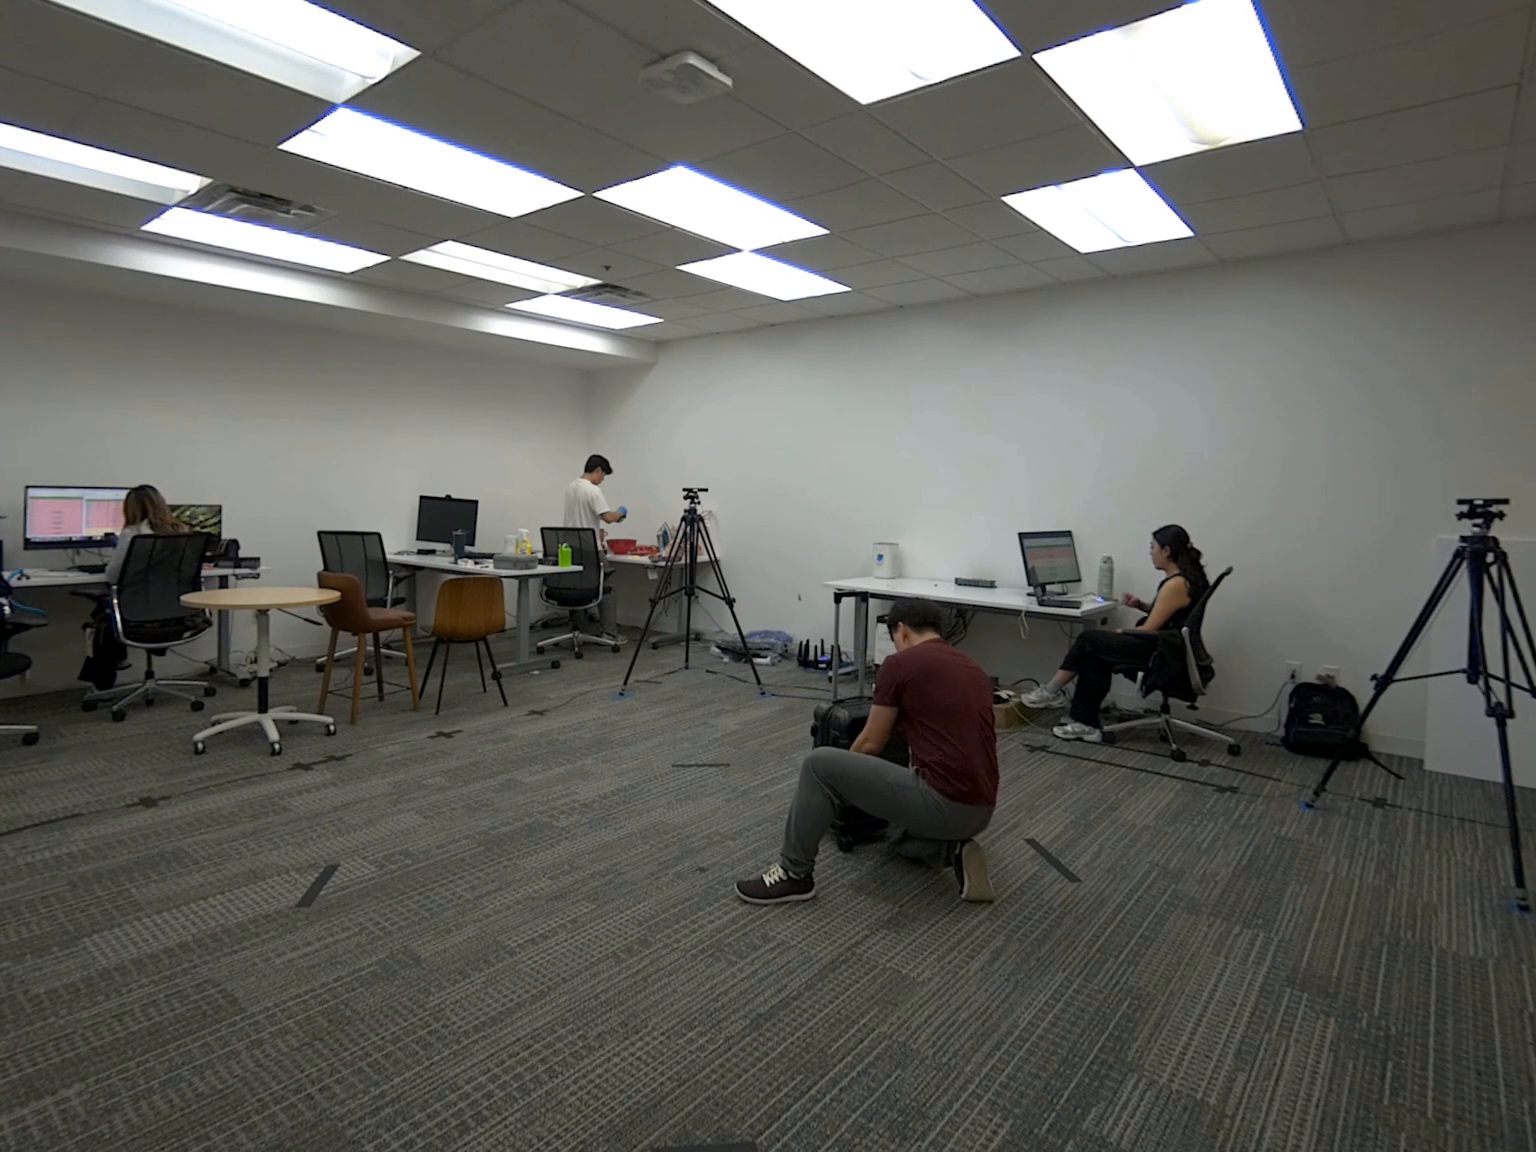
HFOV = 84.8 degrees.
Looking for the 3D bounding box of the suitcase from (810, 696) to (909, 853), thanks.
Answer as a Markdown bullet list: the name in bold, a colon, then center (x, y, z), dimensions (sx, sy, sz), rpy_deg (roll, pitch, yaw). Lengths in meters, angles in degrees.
- **suitcase**: center (0.371, 0.567, 3.450), dimensions (0.376, 0.975, 0.263), rpy_deg (-2, 4, -22)
